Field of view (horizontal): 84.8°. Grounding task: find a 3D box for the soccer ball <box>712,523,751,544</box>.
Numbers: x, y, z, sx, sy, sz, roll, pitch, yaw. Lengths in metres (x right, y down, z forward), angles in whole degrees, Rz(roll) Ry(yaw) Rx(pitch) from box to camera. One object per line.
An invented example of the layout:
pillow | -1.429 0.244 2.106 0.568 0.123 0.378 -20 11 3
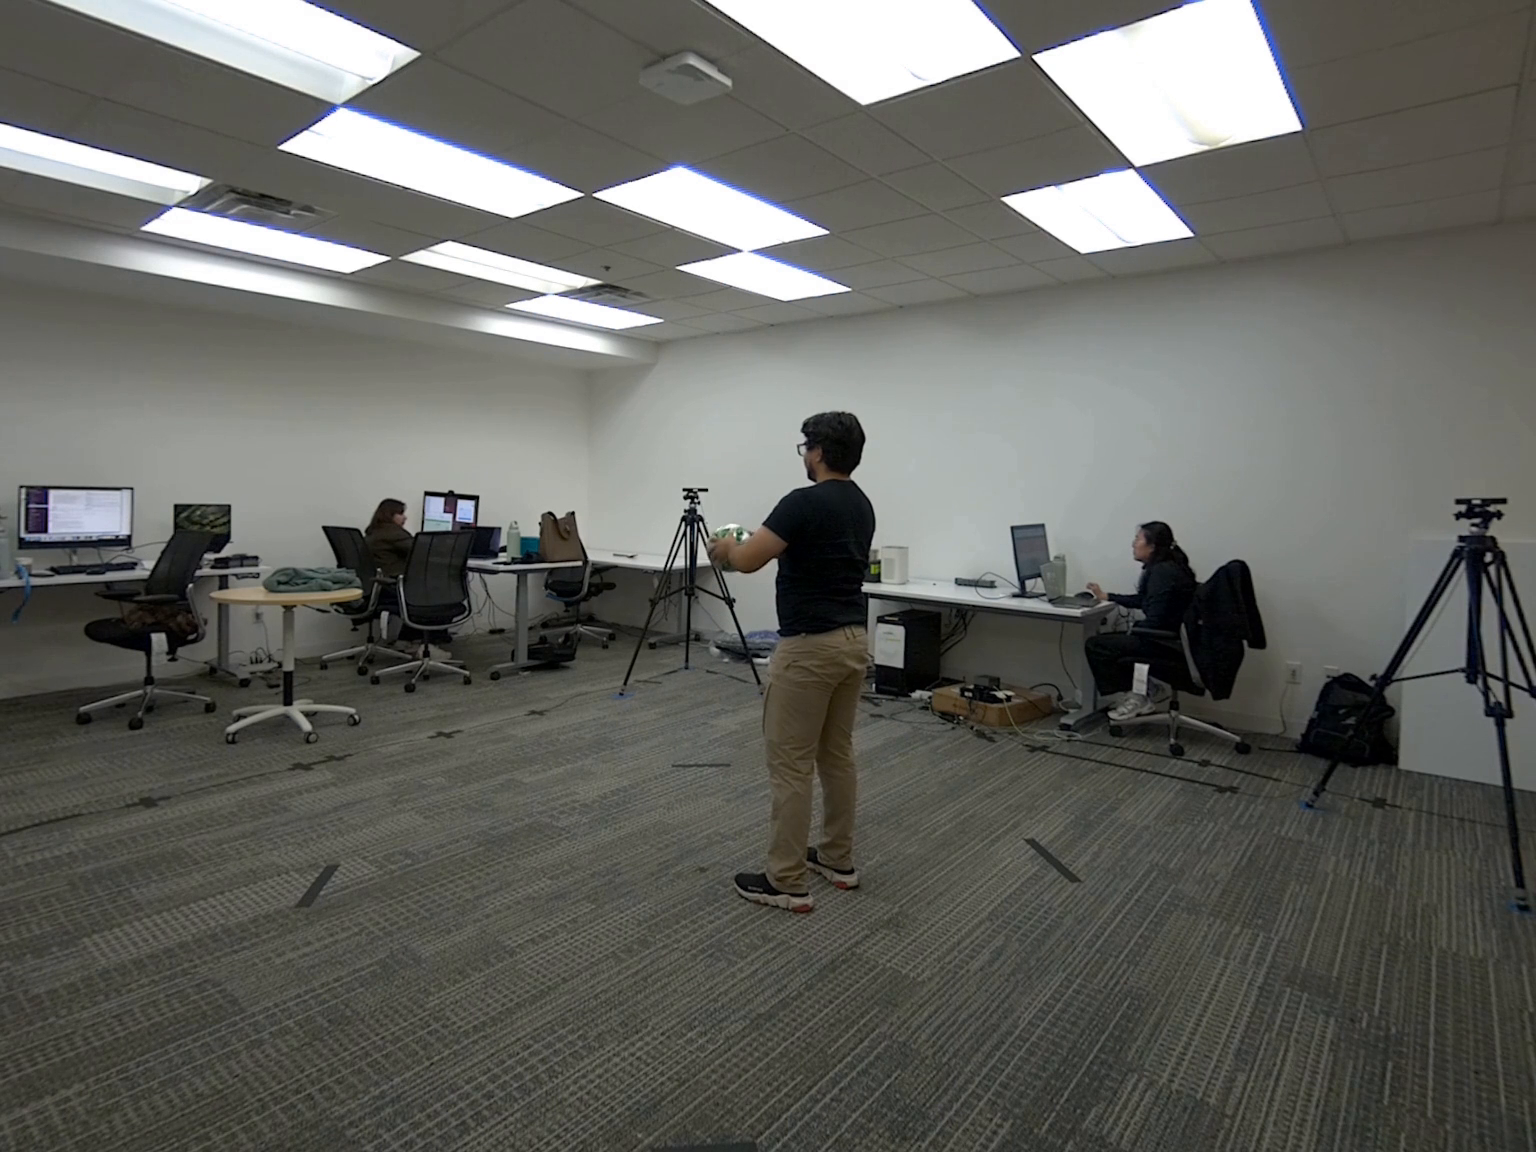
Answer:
soccer ball | -0.150 -0.111 3.280 0.187 0.187 0.188 1 4 -2
